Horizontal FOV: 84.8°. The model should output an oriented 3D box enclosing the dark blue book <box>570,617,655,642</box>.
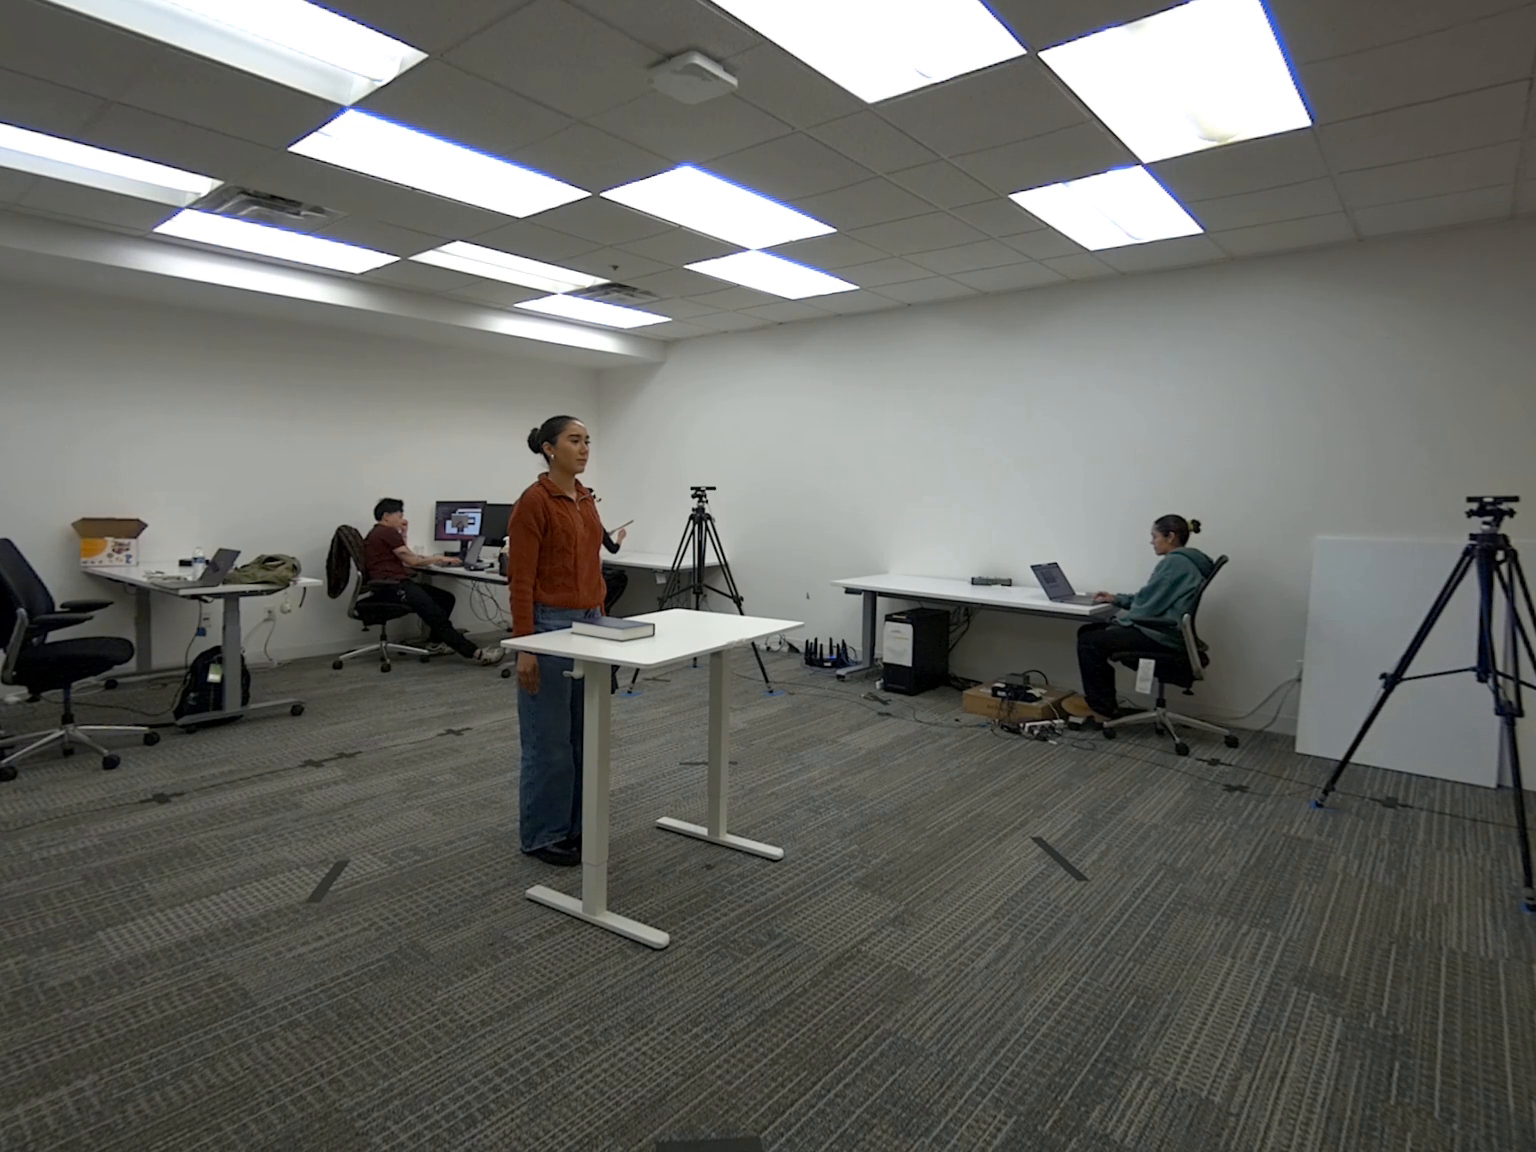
[{"bbox_3d":[-0.541,0.179,2.898,0.253,0.045,0.159,5,6,35],"label":"dark blue book"}]
